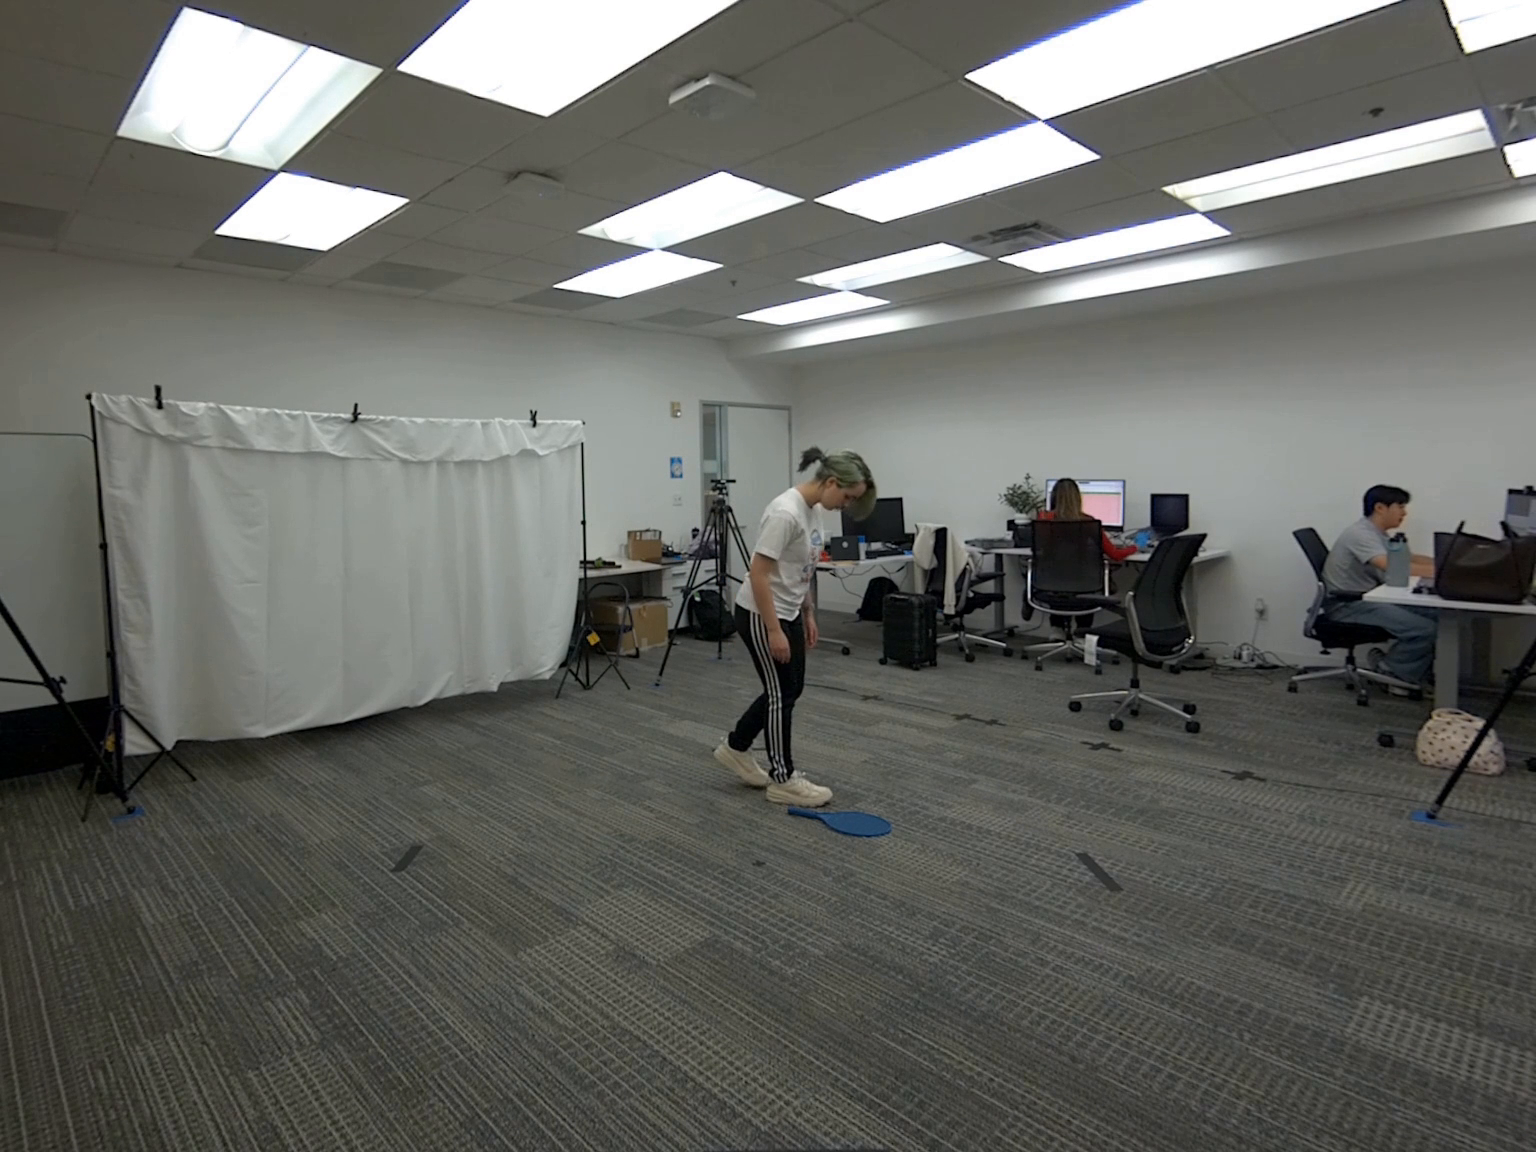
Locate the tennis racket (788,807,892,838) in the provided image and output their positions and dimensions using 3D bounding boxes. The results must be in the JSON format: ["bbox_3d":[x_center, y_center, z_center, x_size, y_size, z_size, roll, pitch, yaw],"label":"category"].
[{"bbox_3d":[0.285,0.989,3.469,0.444,0.031,0.209,4,7,27],"label":"tennis racket"}]
